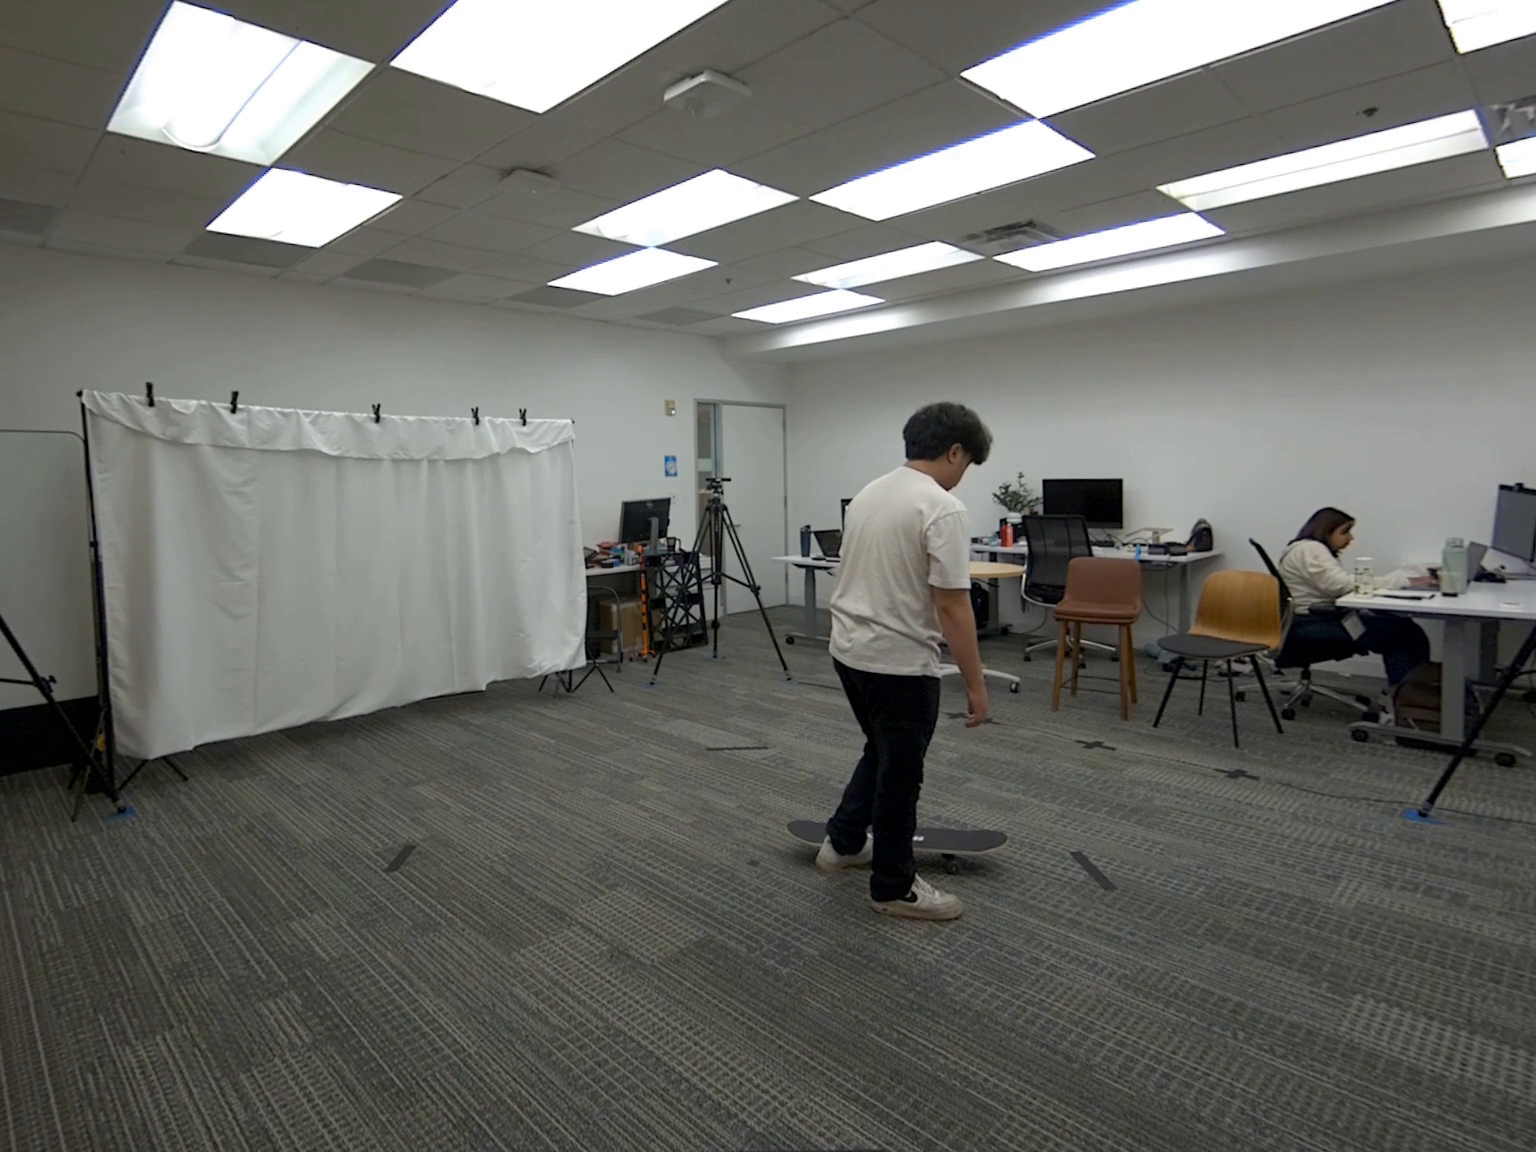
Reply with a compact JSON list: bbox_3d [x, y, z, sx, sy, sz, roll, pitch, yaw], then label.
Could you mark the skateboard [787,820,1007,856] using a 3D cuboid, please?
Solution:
[{"bbox_3d":[0.454,0.972,3.097,0.793,0.110,0.192,0,5,10],"label":"skateboard"}]
